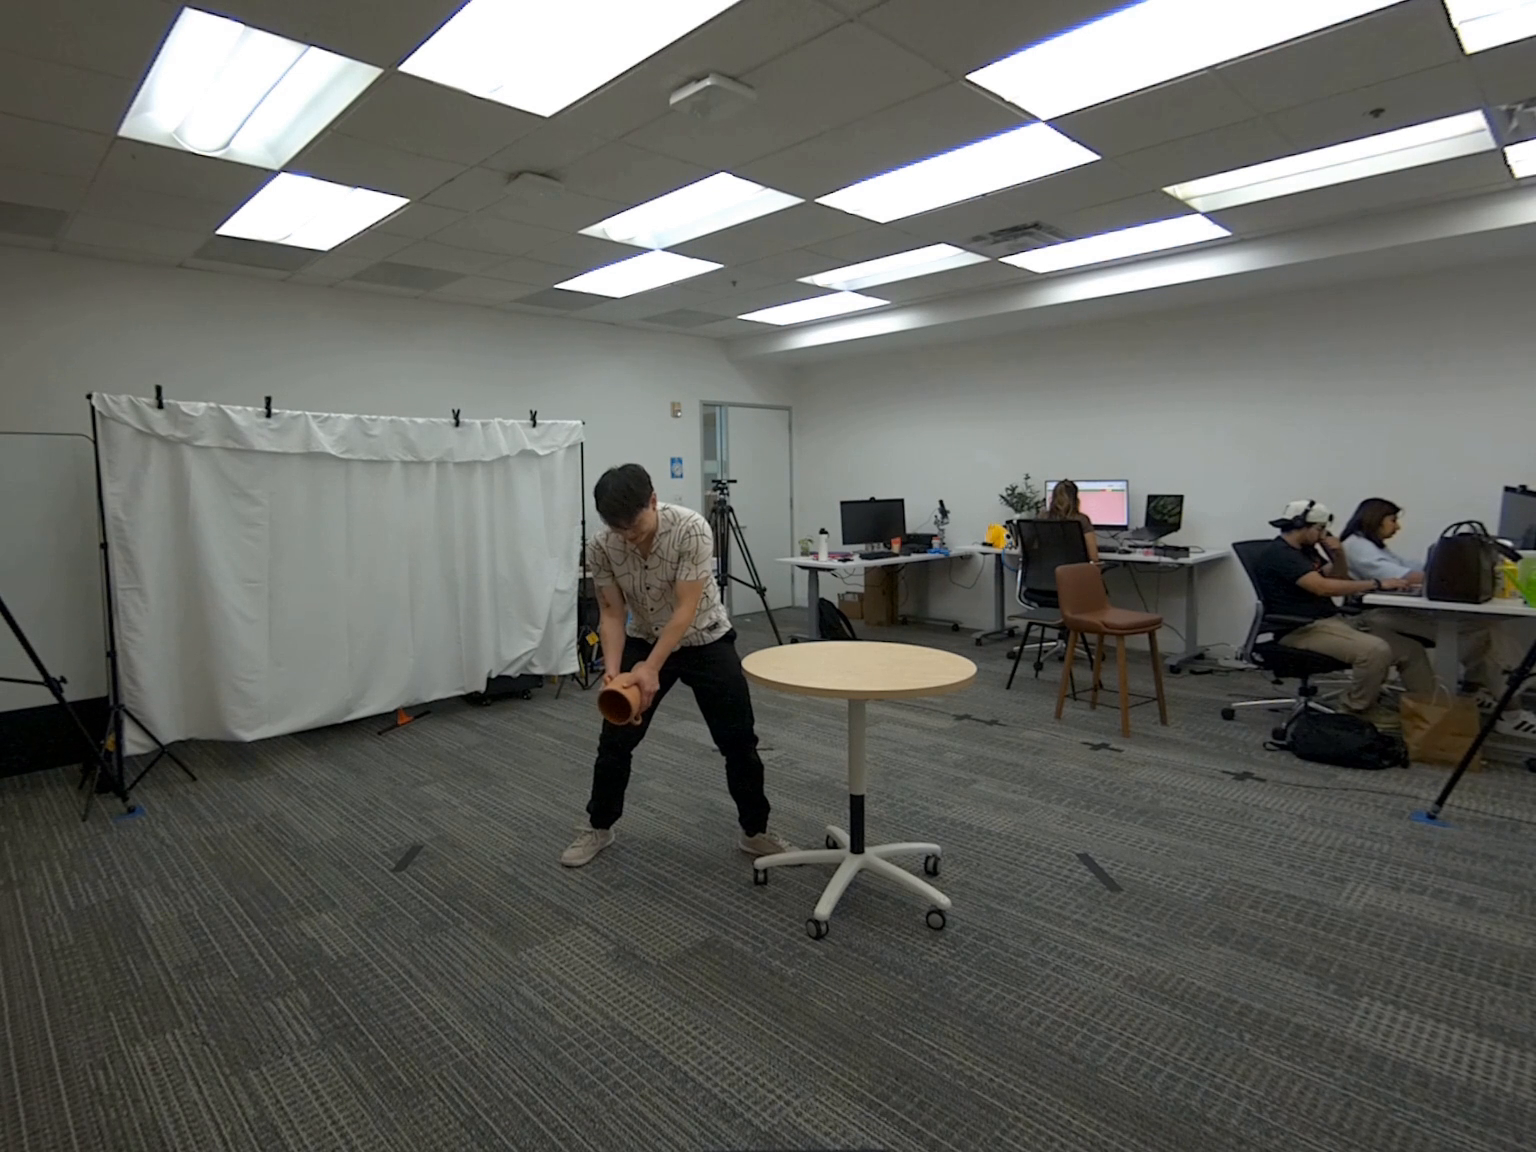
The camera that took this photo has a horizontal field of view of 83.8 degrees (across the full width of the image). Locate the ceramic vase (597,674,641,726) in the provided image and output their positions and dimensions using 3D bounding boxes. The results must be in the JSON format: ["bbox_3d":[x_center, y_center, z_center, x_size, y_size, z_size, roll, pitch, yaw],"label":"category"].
[{"bbox_3d":[-0.453,0.378,2.827,0.137,0.156,0.220,10,24,15],"label":"ceramic vase"}]
